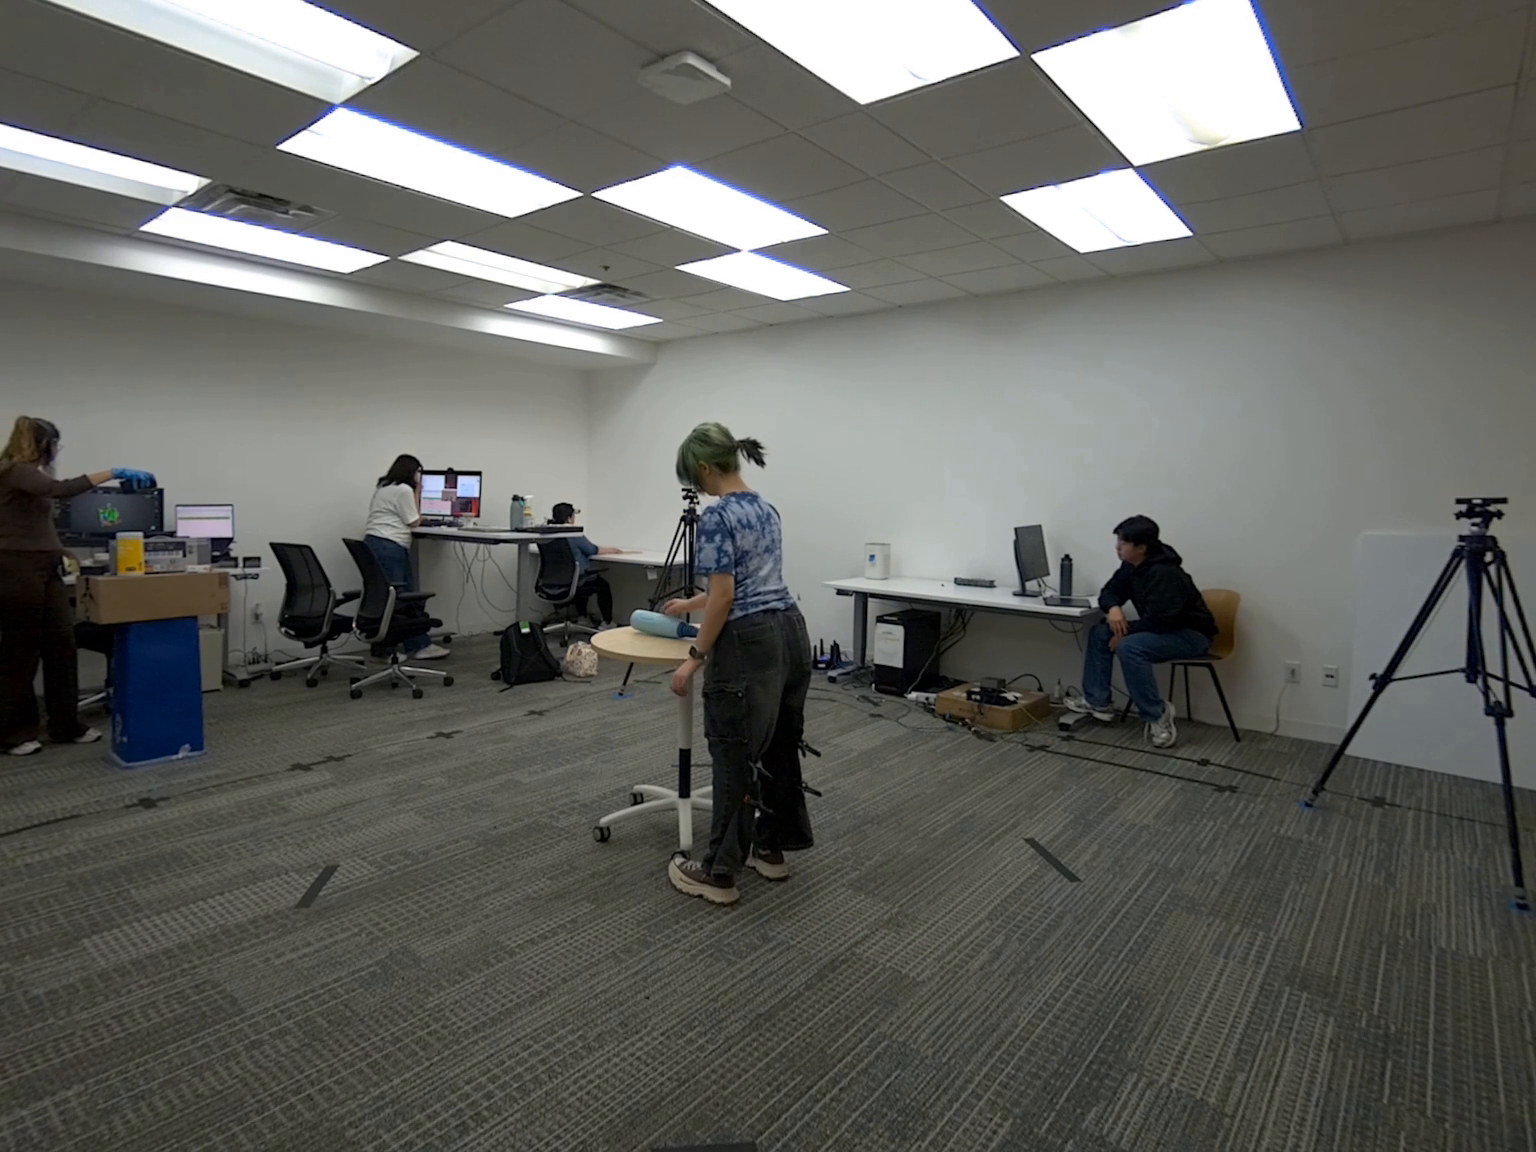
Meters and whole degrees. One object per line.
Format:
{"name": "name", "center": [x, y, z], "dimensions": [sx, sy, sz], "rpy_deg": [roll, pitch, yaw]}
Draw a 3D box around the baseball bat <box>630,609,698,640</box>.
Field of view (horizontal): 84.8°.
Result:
{"name": "baseball bat", "center": [-0.334, 0.219, 3.418], "dimensions": [0.561, 0.088, 0.086], "rpy_deg": [9, 8, 33]}
